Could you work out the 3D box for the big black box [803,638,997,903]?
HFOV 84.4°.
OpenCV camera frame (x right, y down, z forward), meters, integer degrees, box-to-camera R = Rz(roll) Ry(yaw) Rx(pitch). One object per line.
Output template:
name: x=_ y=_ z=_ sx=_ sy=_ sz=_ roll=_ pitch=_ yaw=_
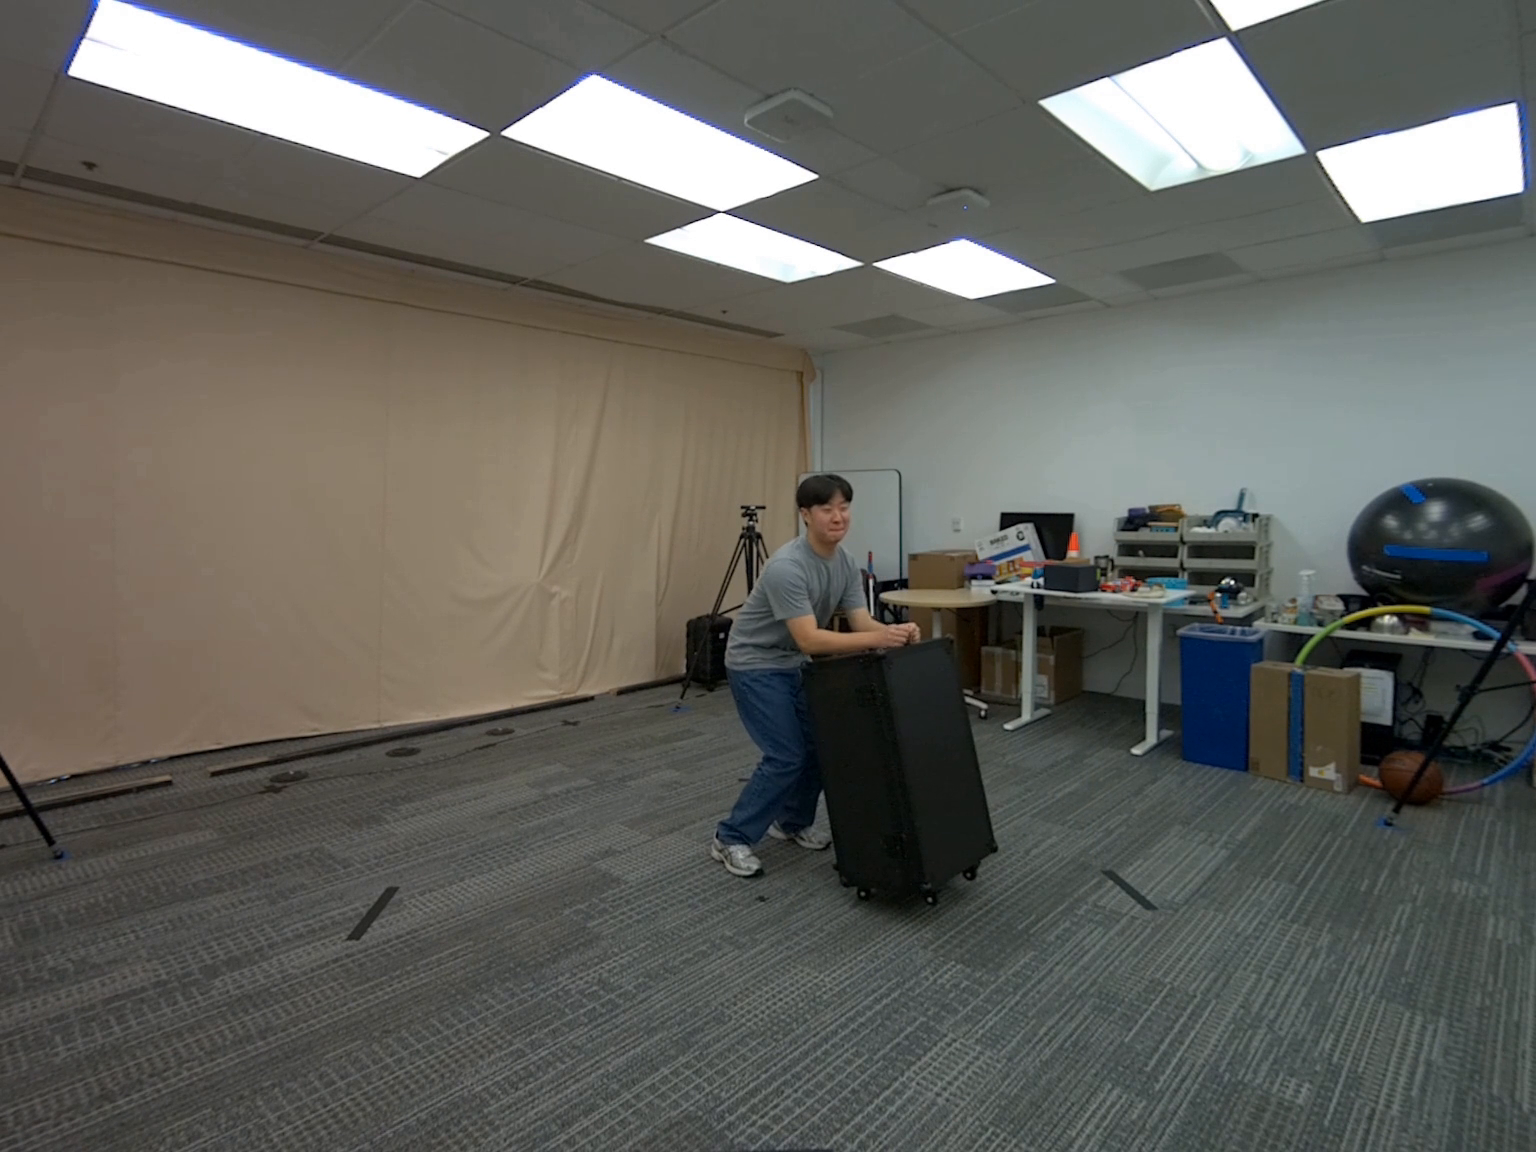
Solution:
big black box: x=0.477 y=0.691 z=3.029 sx=0.406 sy=0.866 sz=0.505 roll=-16 pitch=-9 yaw=42
